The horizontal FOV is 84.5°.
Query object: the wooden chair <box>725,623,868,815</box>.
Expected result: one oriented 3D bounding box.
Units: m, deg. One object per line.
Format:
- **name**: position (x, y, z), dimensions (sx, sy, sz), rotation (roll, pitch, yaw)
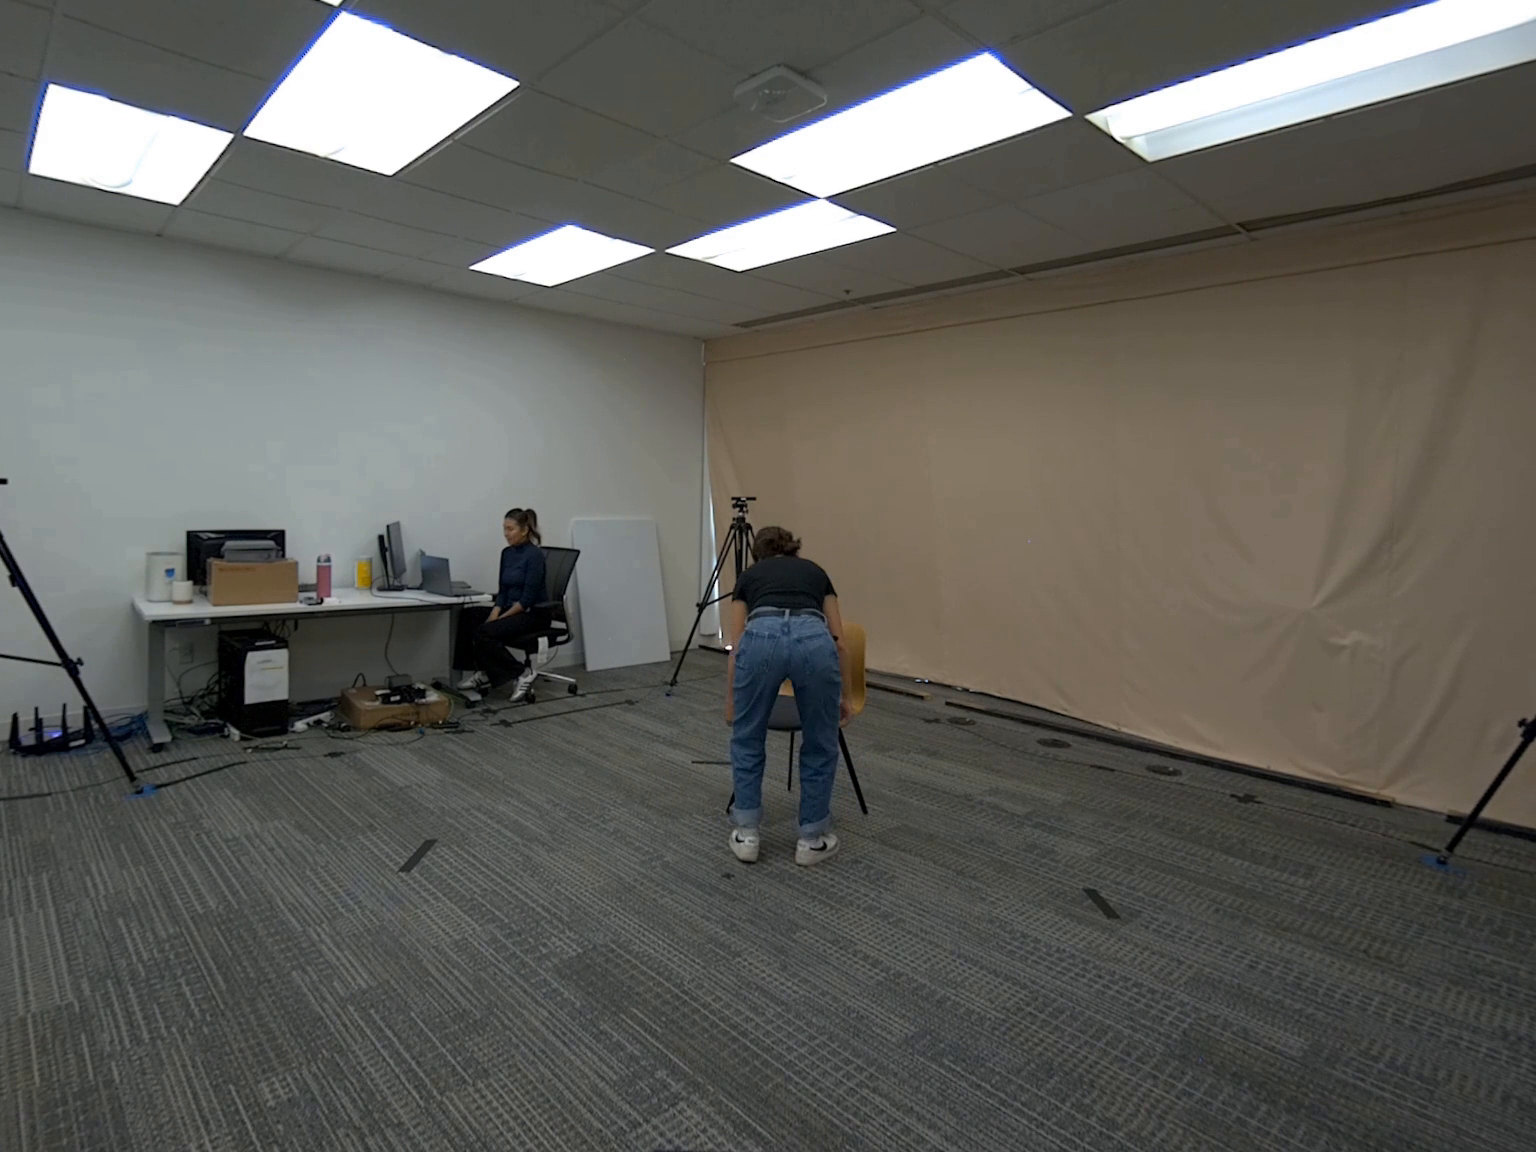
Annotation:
- **wooden chair**: position (0.134, 0.632, 3.716), dimensions (0.490, 0.877, 0.510), rotation (4, 0, 41)
